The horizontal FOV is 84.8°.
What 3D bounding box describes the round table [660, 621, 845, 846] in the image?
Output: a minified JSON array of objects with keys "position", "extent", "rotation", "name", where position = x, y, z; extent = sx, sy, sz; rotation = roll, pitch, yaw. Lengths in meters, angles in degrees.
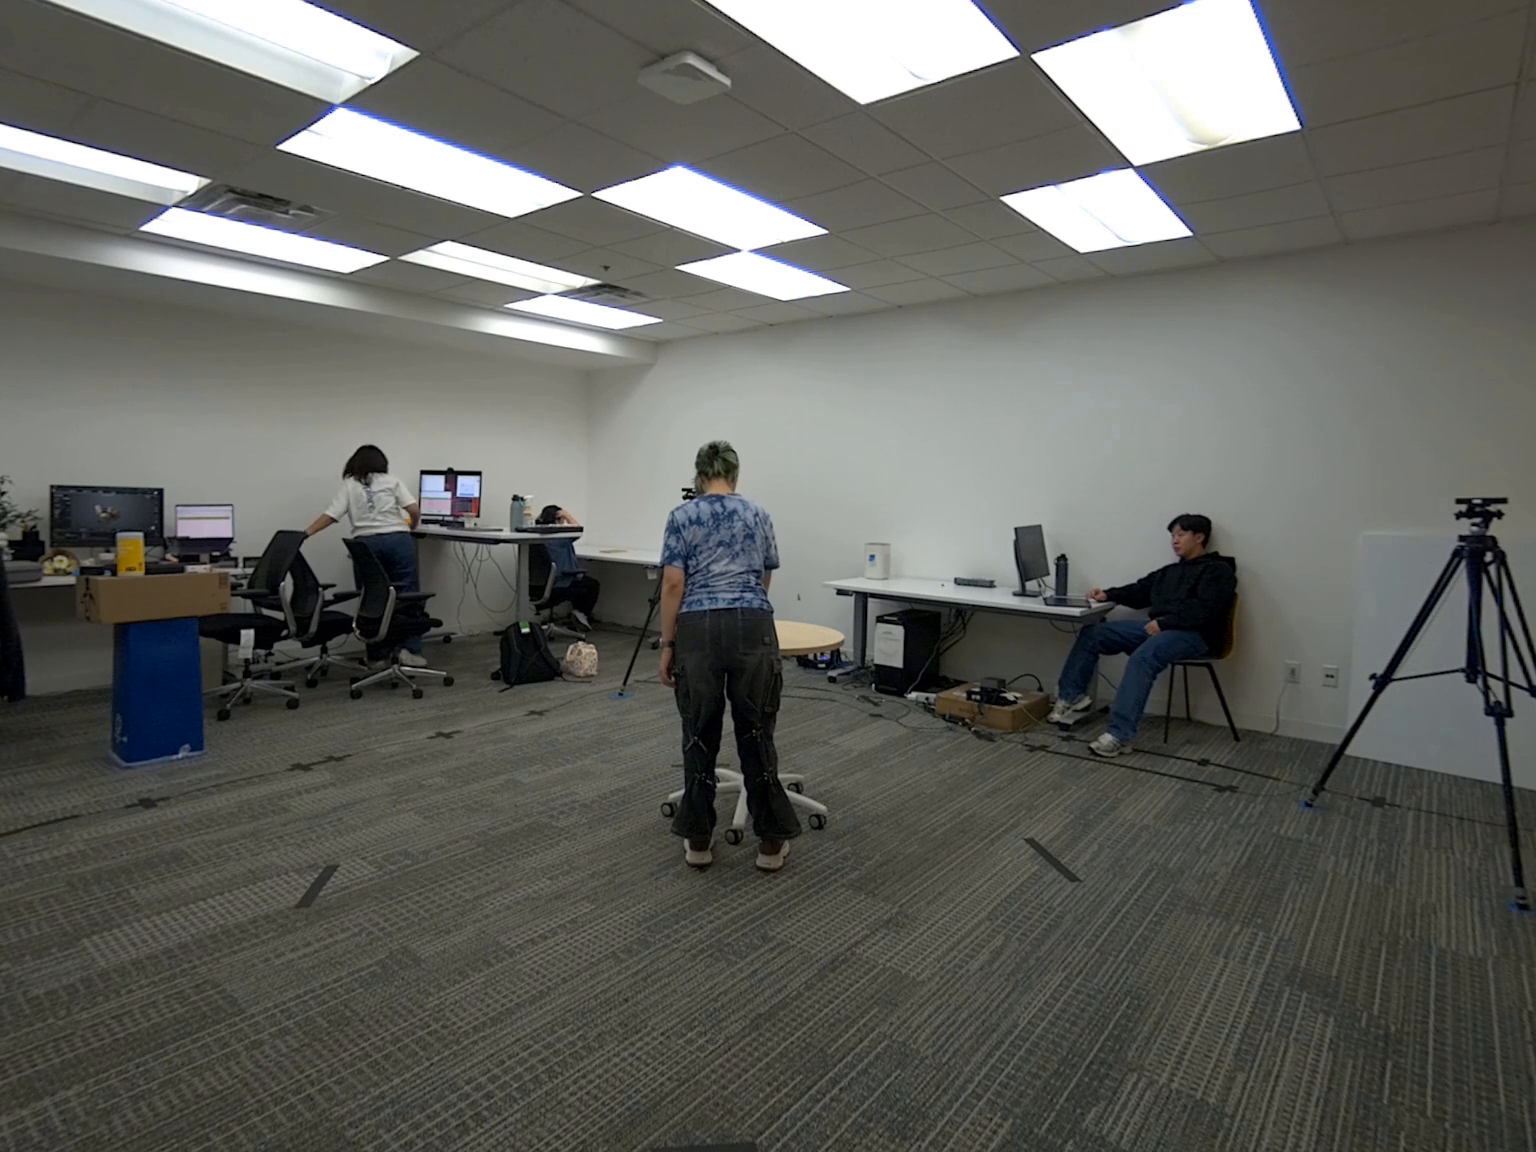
[{"position":[-0.069,0.626,3.628],"extent":[0.784,0.784,0.789],"rotation":[1,4,-2],"name":"round table"}]
